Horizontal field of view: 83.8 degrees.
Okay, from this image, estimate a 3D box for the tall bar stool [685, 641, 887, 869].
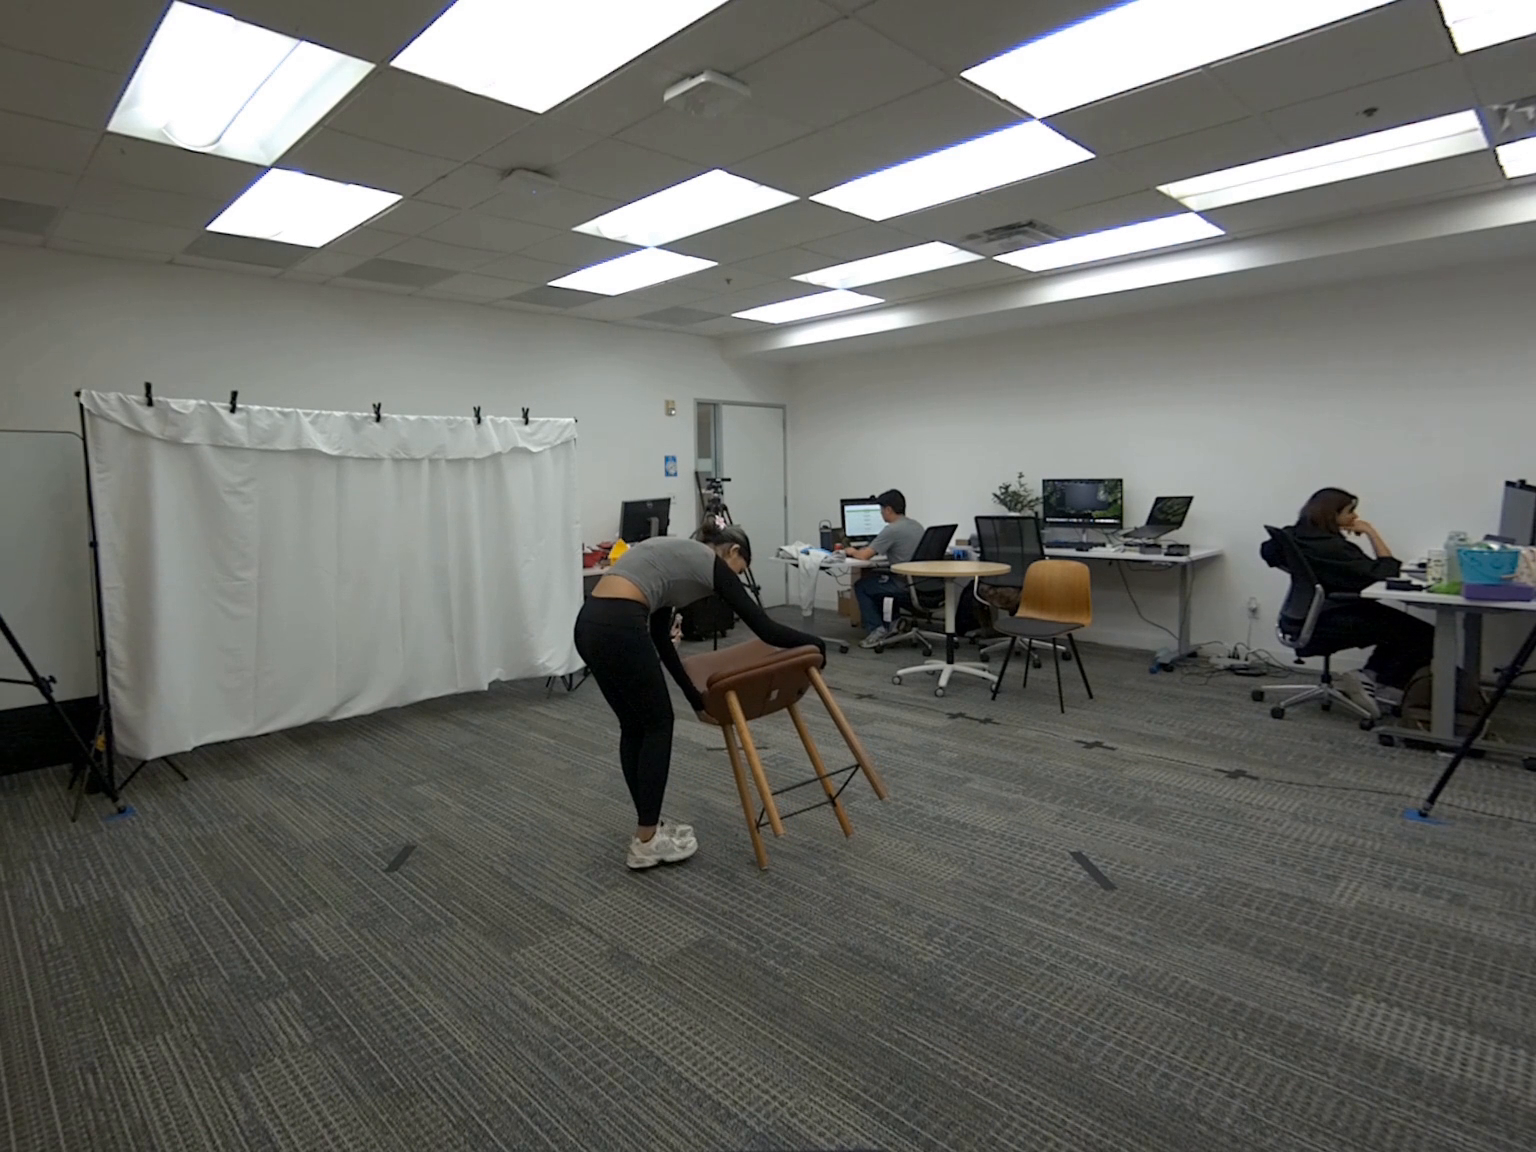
[{"bbox_3d":[0.021,0.542,3.148,0.451,0.919,0.458,-14,-32,-18],"label":"tall bar stool"}]
